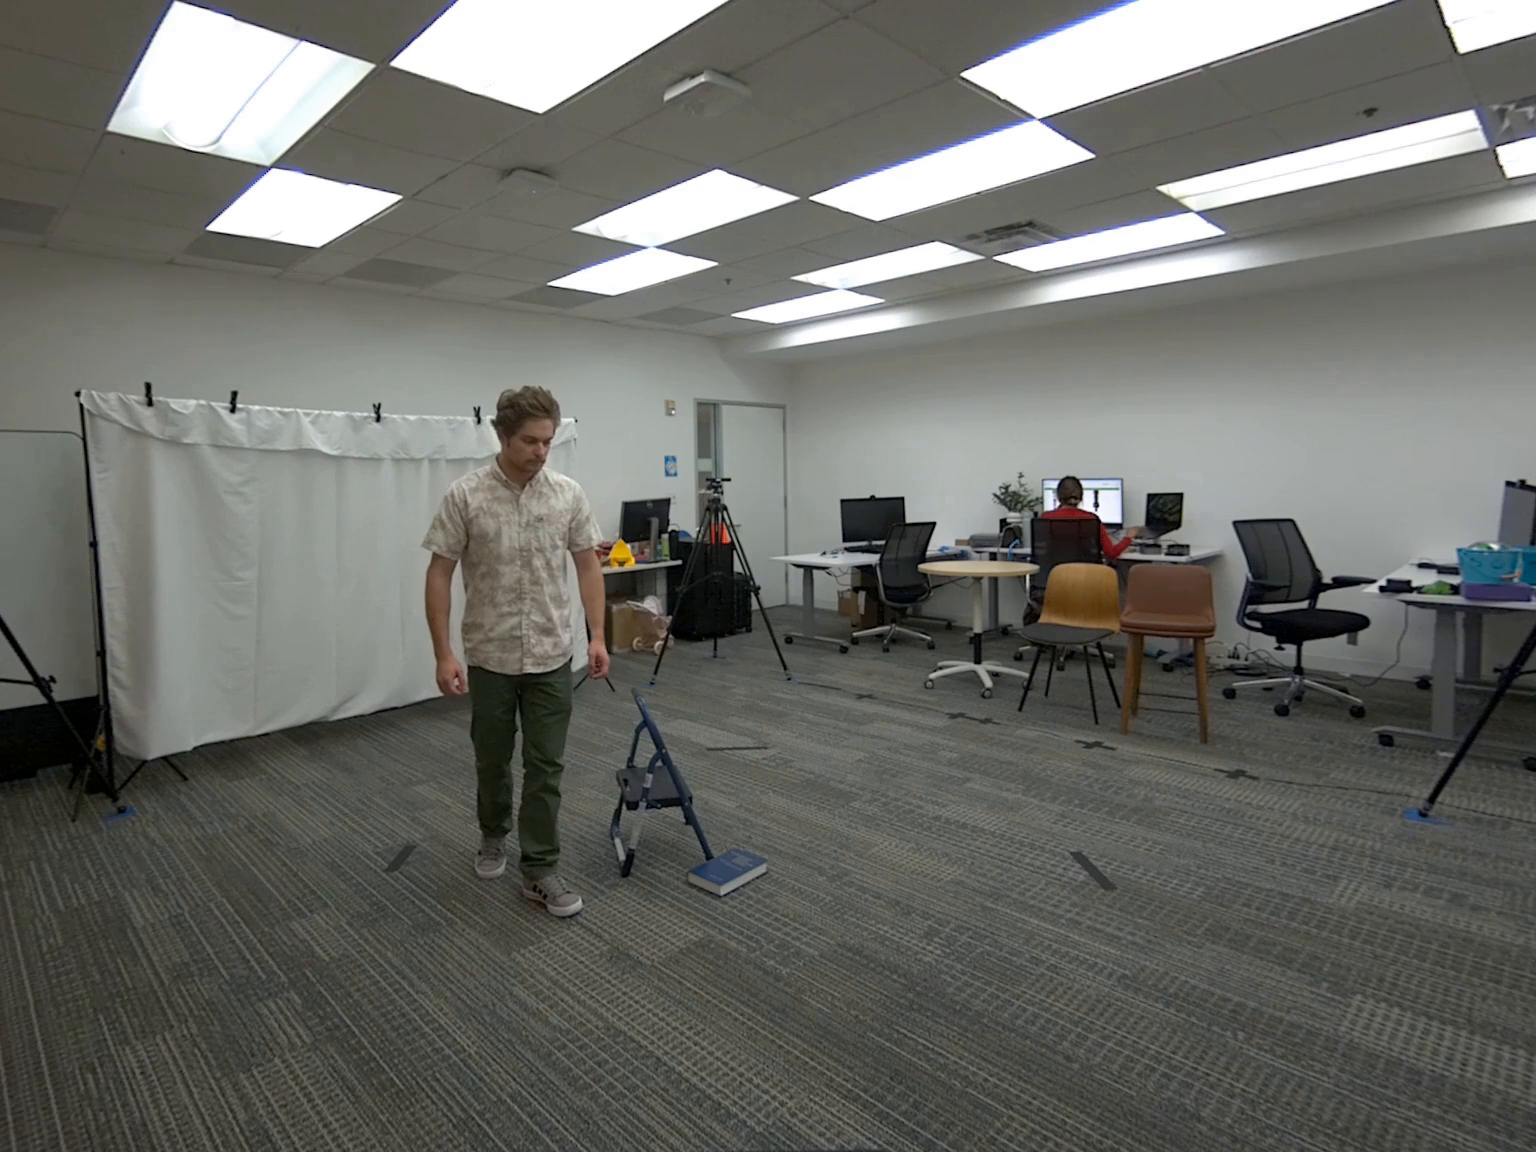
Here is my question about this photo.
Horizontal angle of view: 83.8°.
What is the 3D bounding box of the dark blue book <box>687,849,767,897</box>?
[{"bbox_3d":[-0.138,1.030,2.988,0.168,0.045,0.239,6,9,41],"label":"dark blue book"}]
